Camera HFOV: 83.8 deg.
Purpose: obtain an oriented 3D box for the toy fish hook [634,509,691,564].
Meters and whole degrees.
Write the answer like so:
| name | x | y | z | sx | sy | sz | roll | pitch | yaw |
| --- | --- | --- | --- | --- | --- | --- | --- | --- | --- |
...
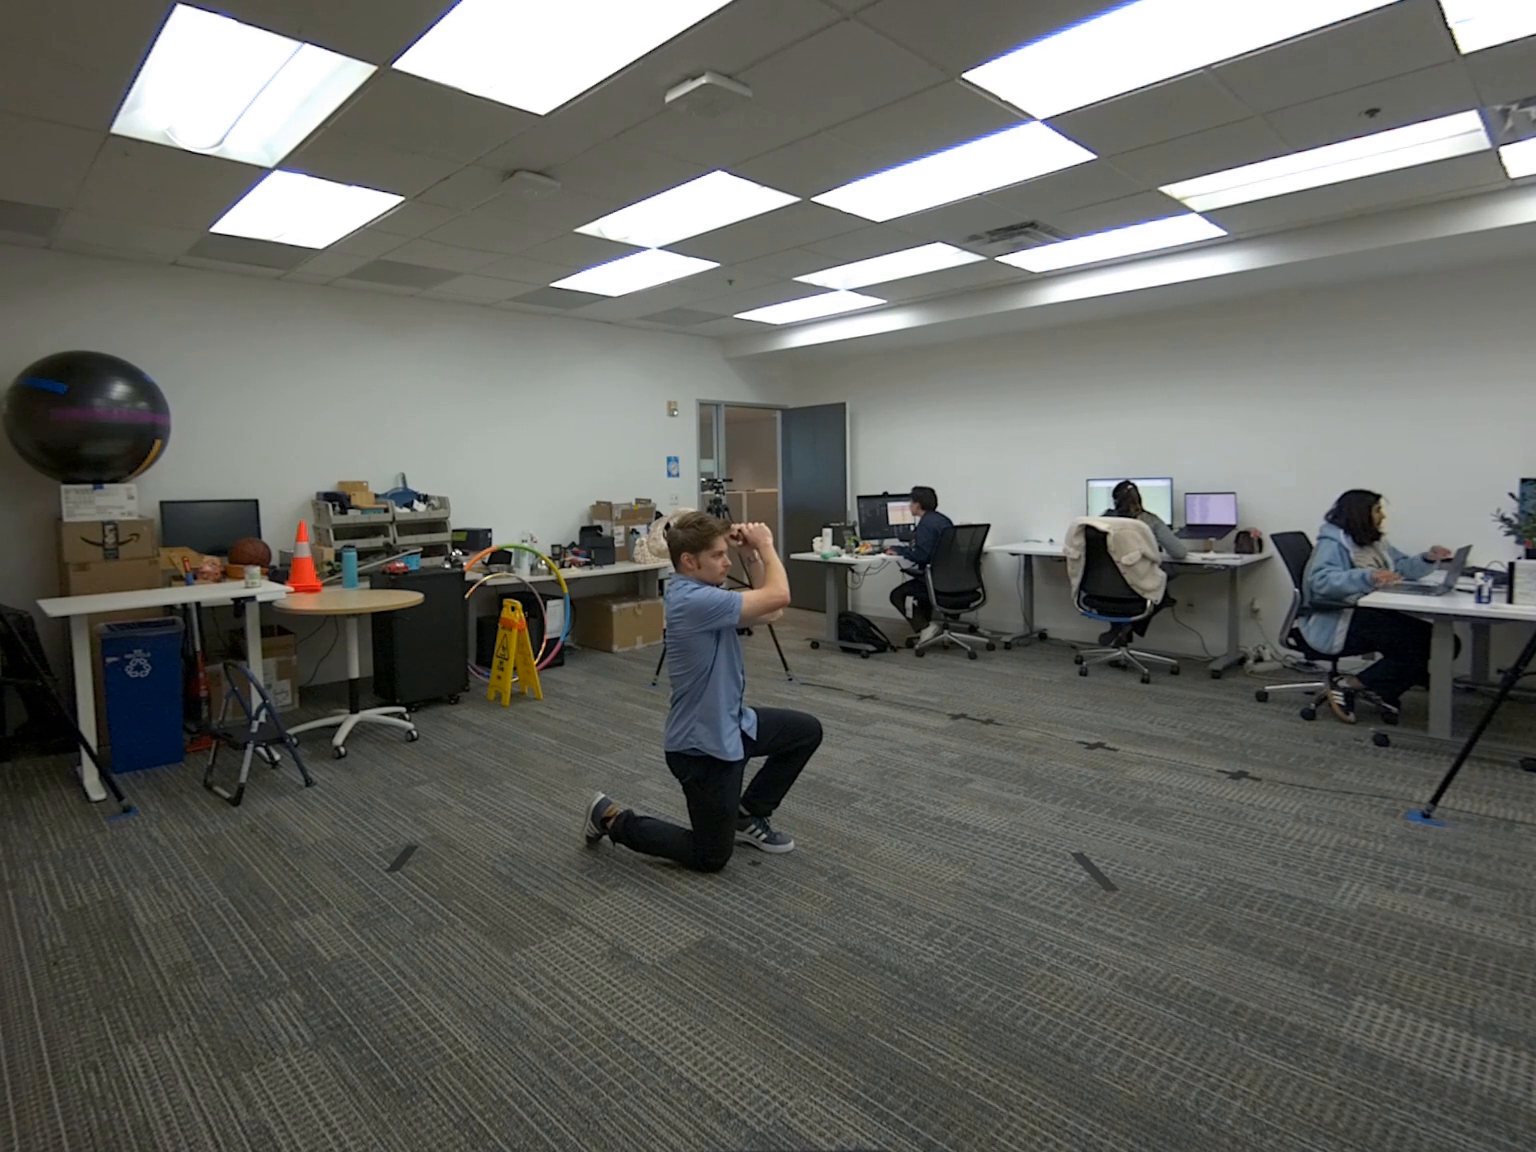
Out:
| name | x | y | z | sx | sy | sz | roll | pitch | yaw |
| --- | --- | --- | --- | --- | --- | --- | --- | --- | --- |
| toy fish hook | -0.232 | -0.189 | 3.292 | 0.514 | 0.229 | 0.046 | -7 | -28 | 18 |
